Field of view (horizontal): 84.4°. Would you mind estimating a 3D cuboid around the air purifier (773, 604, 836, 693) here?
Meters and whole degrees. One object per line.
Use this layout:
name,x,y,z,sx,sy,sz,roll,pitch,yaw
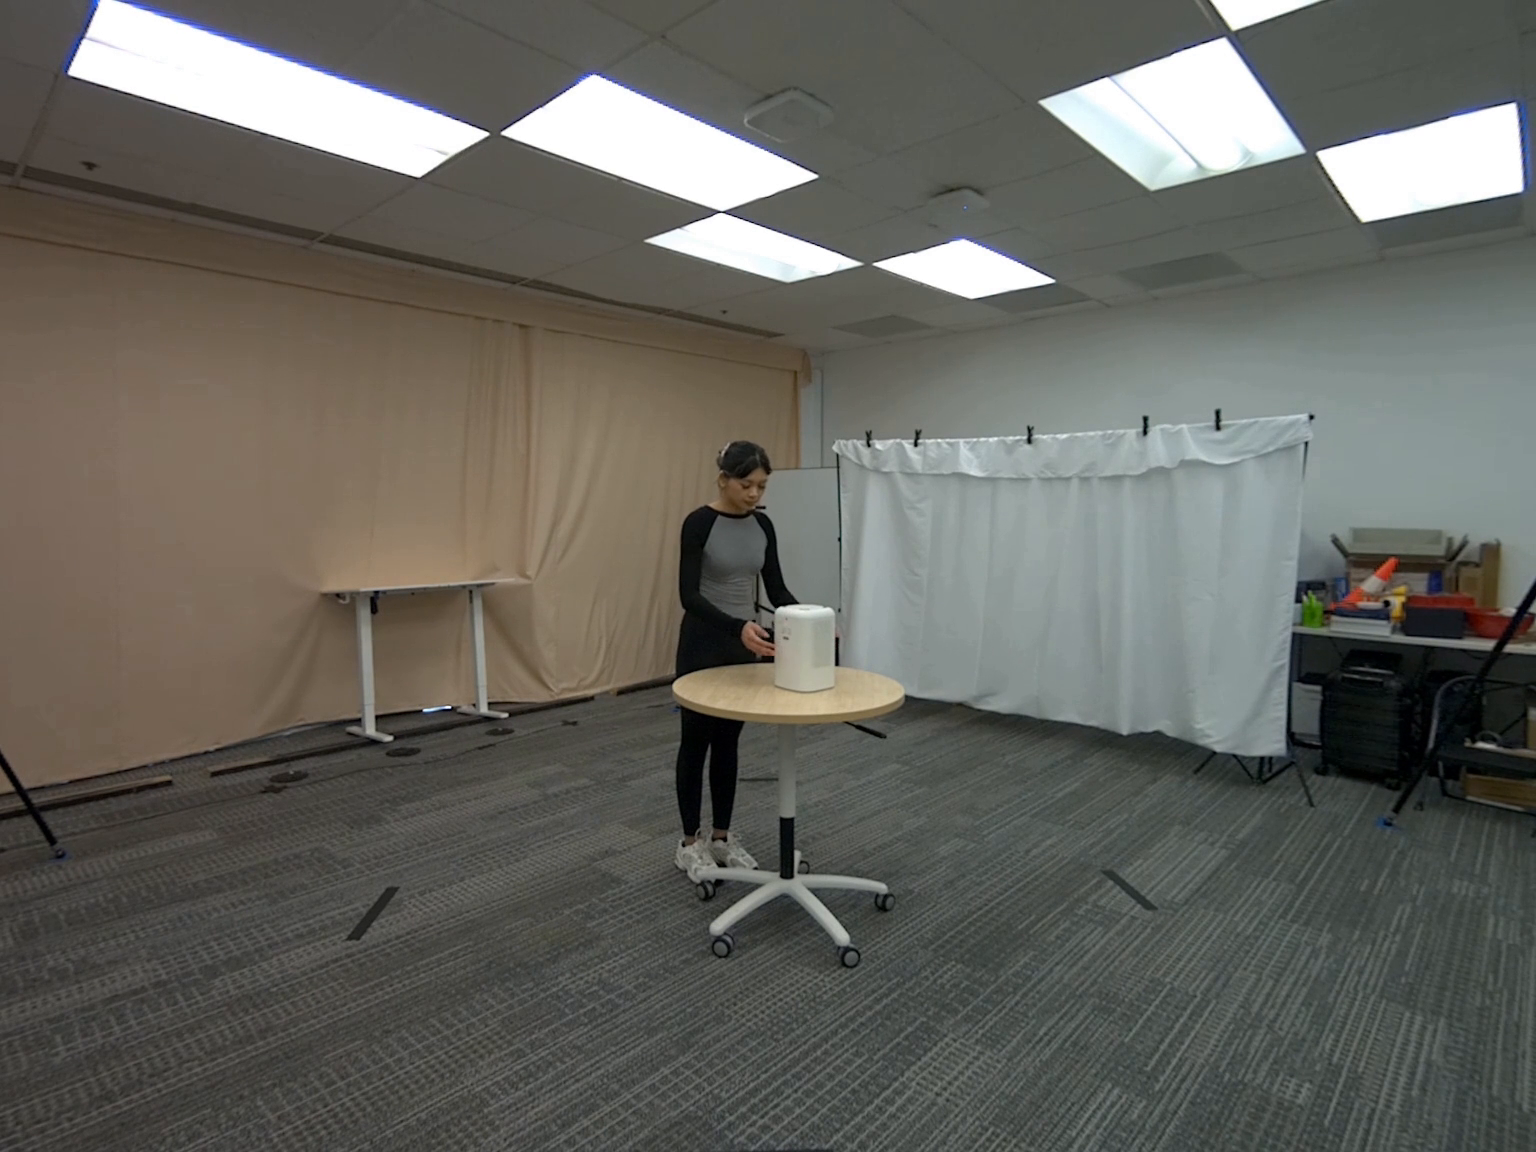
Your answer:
air purifier,0.126,0.235,2.785,0.166,0.265,0.177,-3,6,-43
